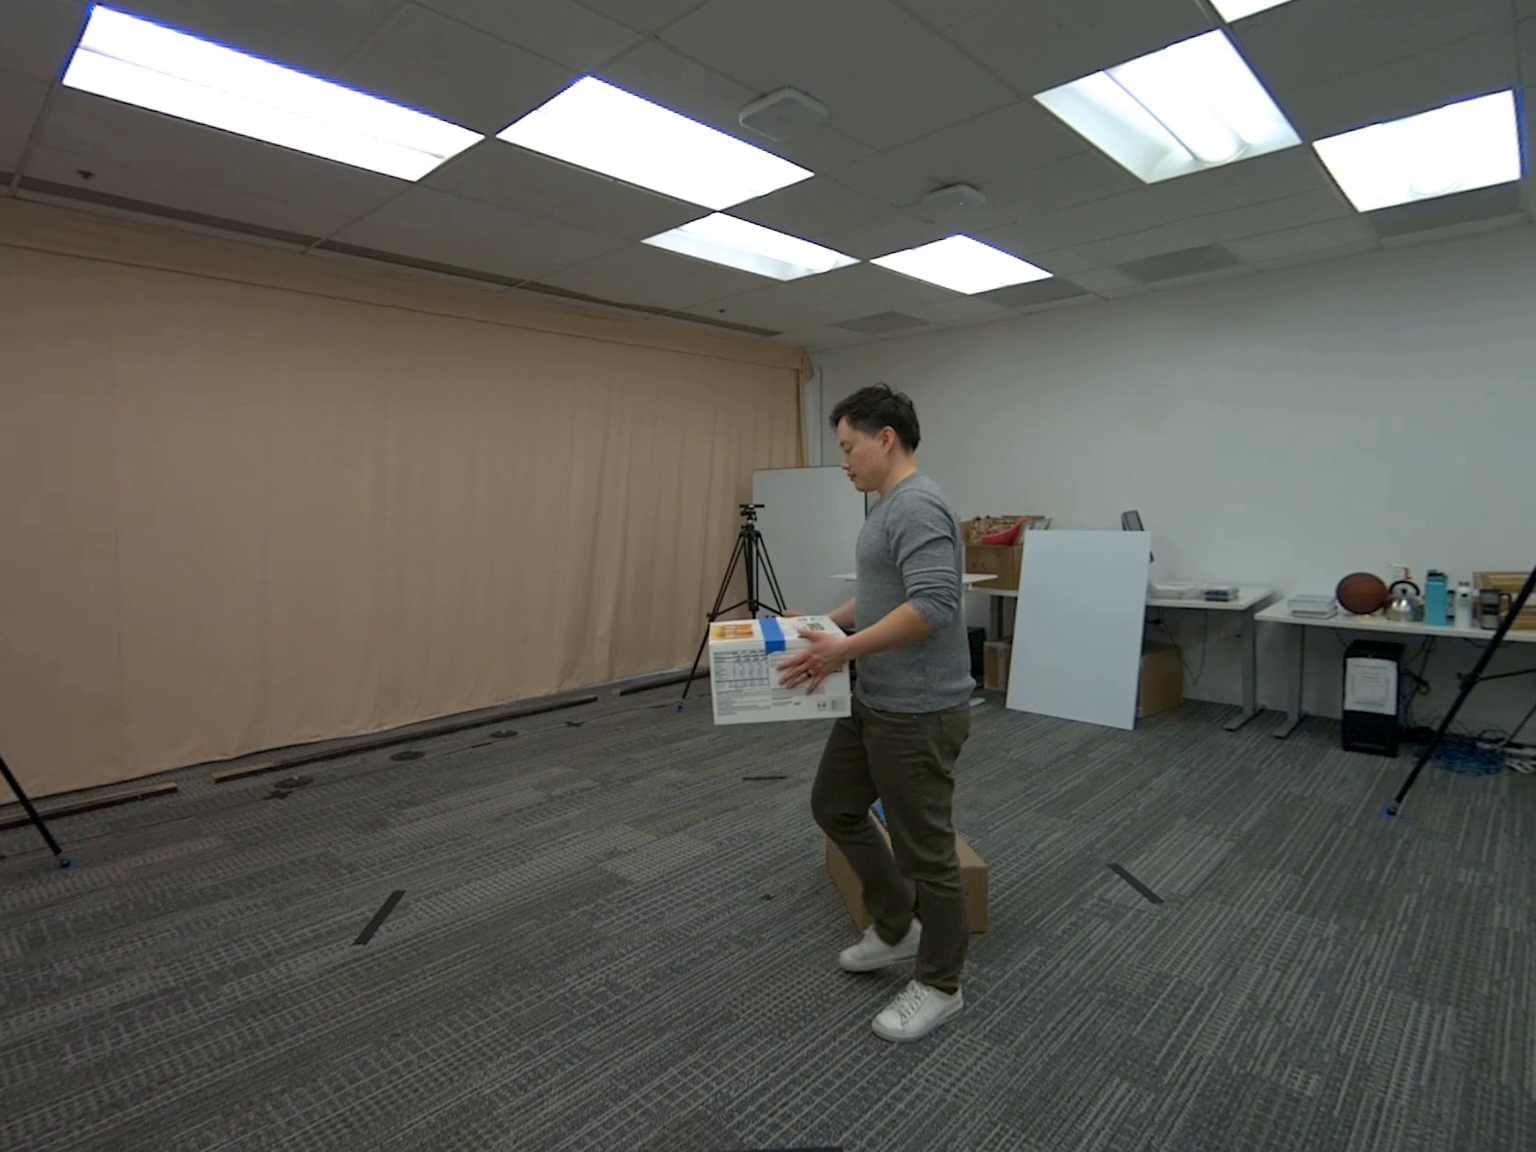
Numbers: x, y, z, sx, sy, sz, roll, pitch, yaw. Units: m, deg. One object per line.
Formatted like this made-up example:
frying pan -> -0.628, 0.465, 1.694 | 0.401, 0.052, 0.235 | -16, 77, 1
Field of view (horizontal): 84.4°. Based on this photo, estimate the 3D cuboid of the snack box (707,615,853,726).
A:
snack box -> 0.026, 0.244, 2.254 | 0.340, 0.205, 0.407 | -4, 4, -2
